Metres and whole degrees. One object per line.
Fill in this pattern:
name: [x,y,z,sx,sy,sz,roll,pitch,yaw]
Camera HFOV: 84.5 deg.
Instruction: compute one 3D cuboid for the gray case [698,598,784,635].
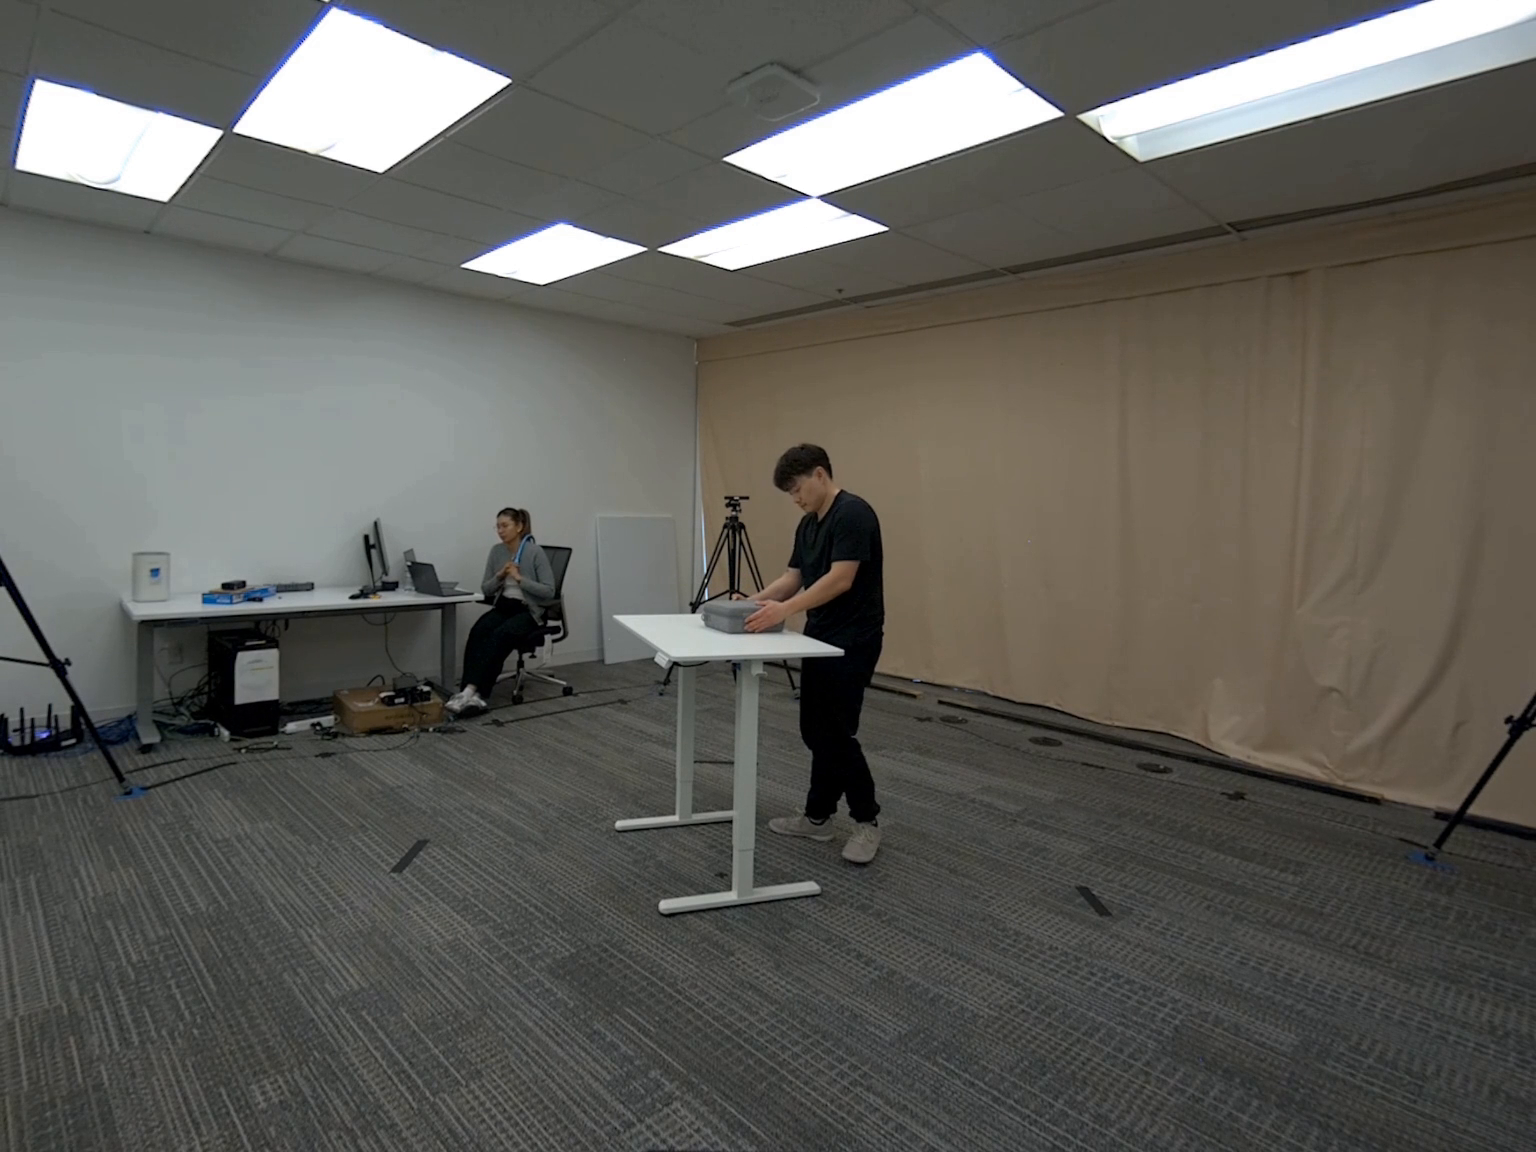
gray case: [-0.113,0.158,3.286,0.252,0.104,0.266,-2,5,-28]
